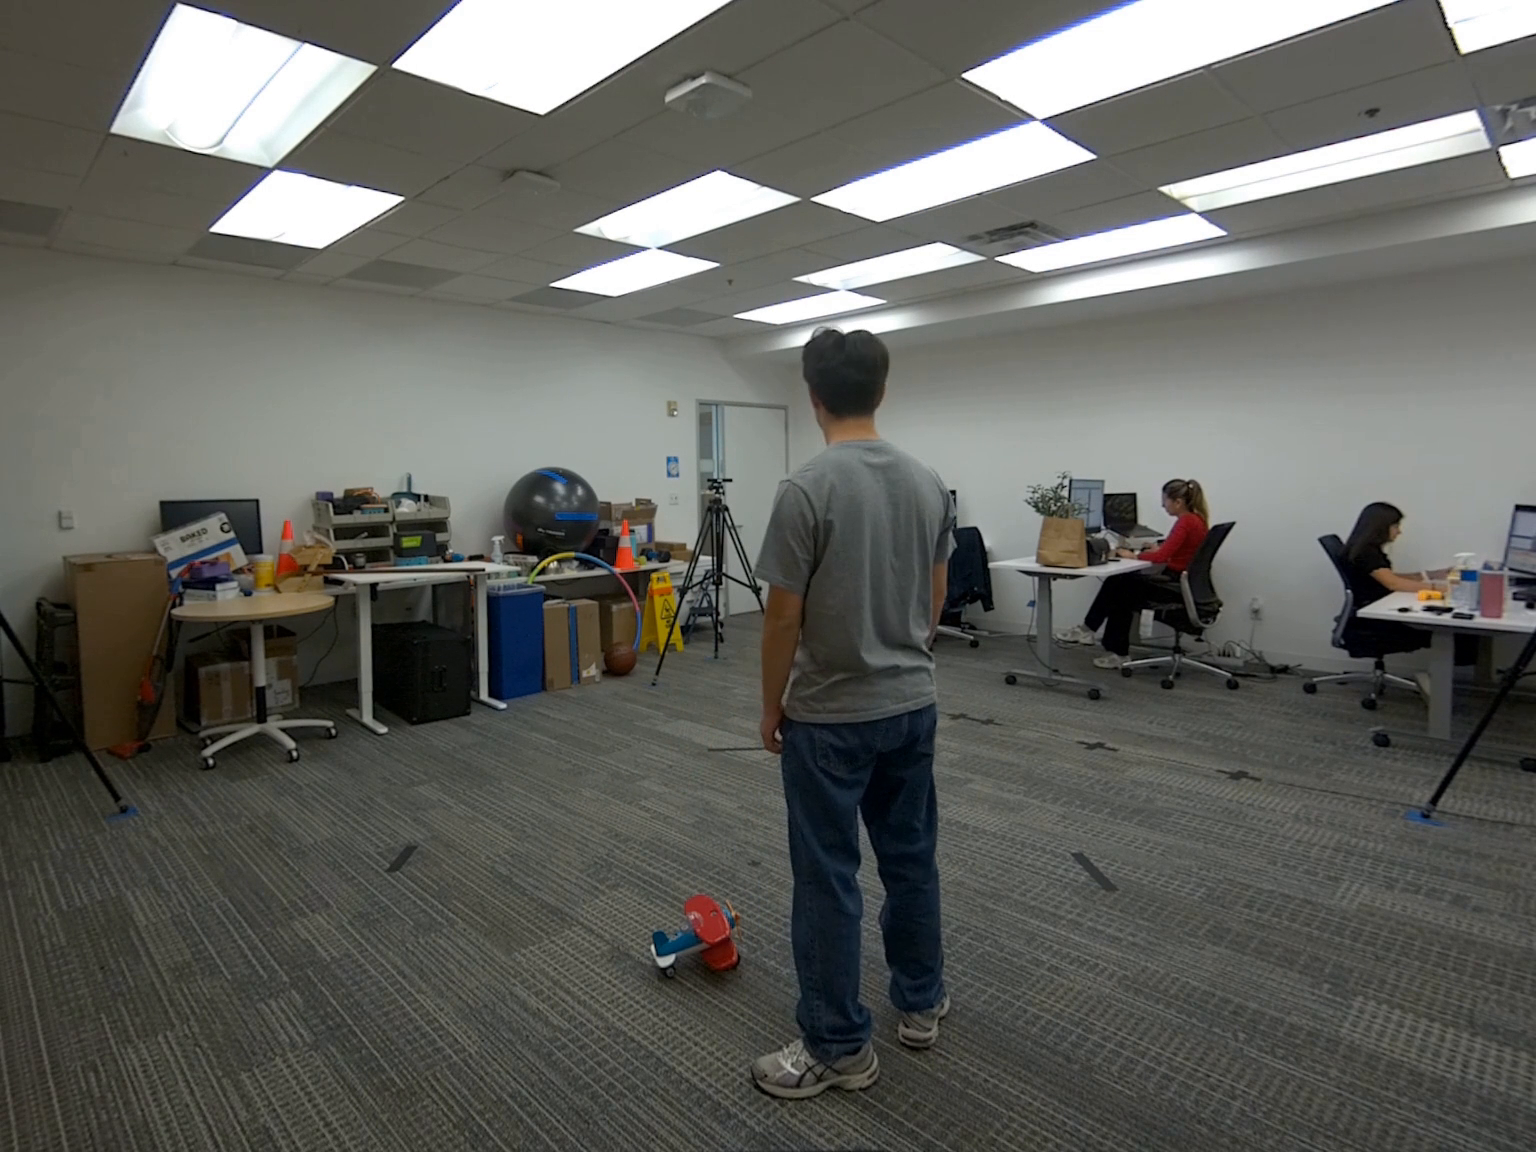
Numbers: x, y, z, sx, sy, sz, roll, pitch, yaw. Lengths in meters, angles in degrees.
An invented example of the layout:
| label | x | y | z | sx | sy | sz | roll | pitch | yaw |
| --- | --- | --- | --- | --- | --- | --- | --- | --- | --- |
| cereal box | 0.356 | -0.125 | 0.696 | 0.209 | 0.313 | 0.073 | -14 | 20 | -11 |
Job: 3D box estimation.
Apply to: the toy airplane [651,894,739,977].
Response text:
| label | x | y | z | sx | sy | sz | roll | pitch | yaw |
| --- | --- | --- | --- | --- | --- | --- | --- | --- | --- |
| toy airplane | -0.190 | 1.056 | 2.438 | 0.259 | 0.156 | 0.252 | 4 | 7 | 42 |
